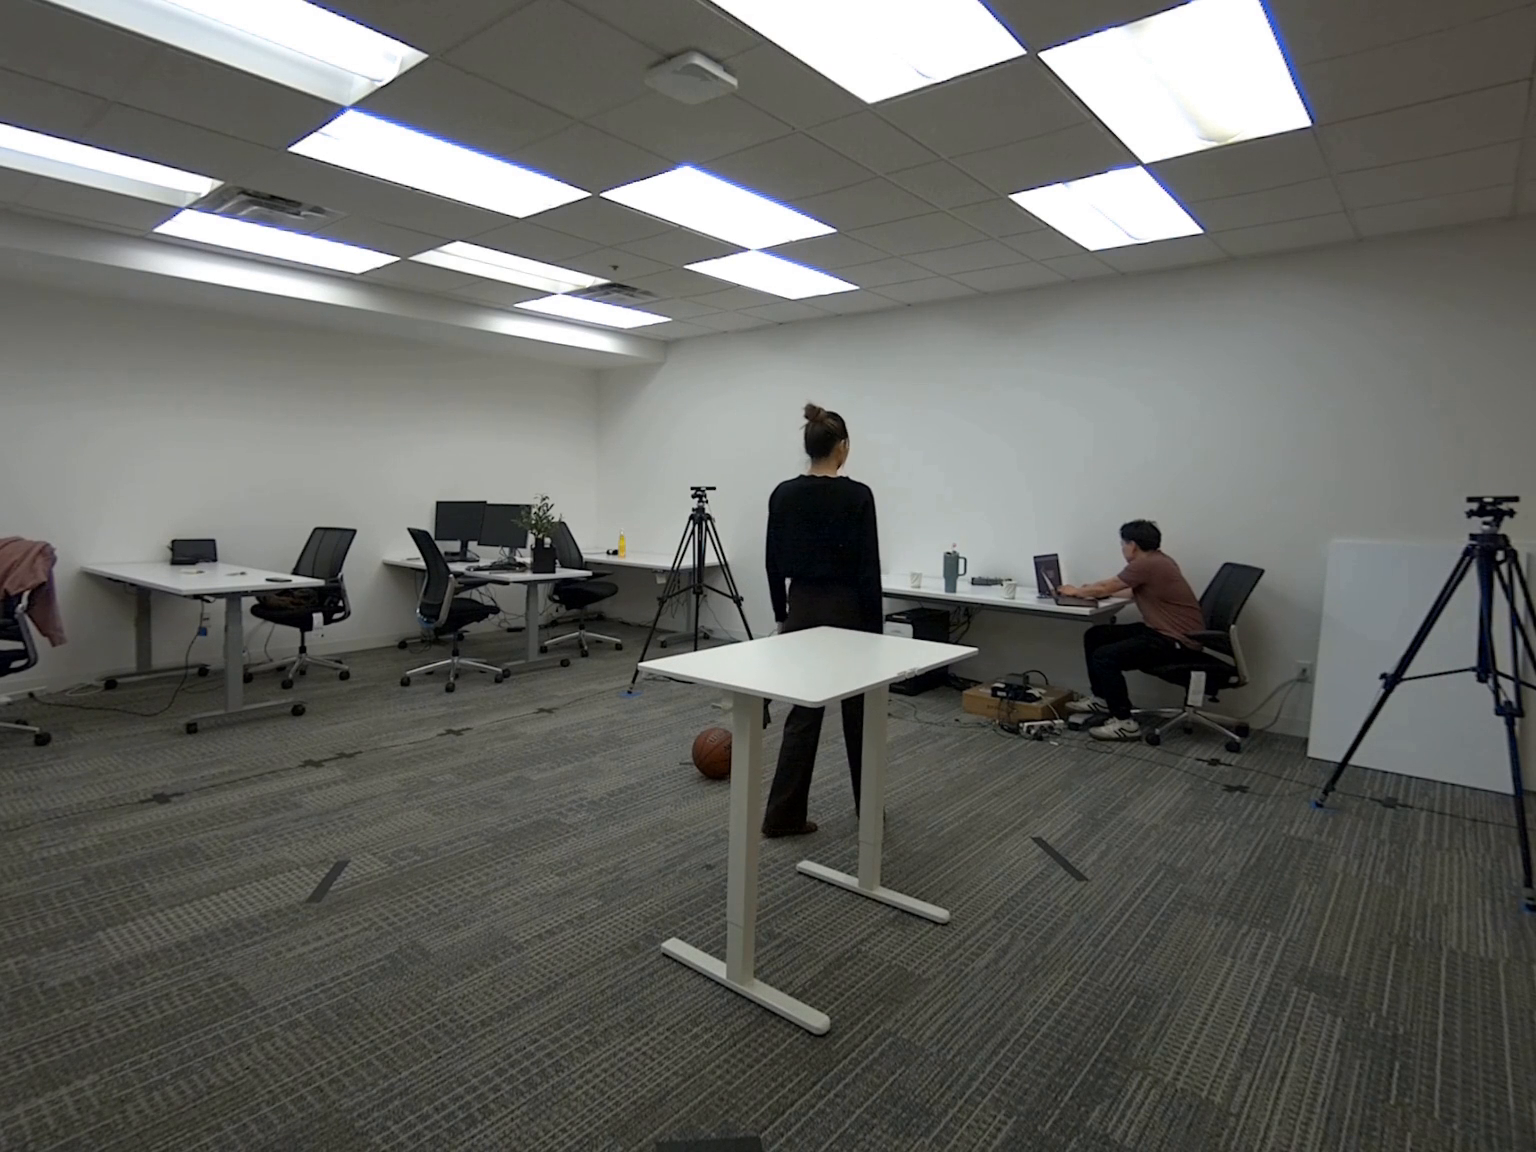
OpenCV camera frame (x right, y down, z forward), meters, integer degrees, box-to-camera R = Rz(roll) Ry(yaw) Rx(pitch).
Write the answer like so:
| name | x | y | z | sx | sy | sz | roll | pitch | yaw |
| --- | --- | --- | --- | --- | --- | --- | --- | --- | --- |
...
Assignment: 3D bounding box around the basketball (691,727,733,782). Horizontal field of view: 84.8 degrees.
| name | x | y | z | sx | sy | sz | roll | pitch | yaw |
| --- | --- | --- | --- | --- | --- | --- | --- | --- | --- |
| basketball | -0.258 | 0.849 | 4.111 | 0.235 | 0.235 | 0.237 | 1 | 4 | -2 |
